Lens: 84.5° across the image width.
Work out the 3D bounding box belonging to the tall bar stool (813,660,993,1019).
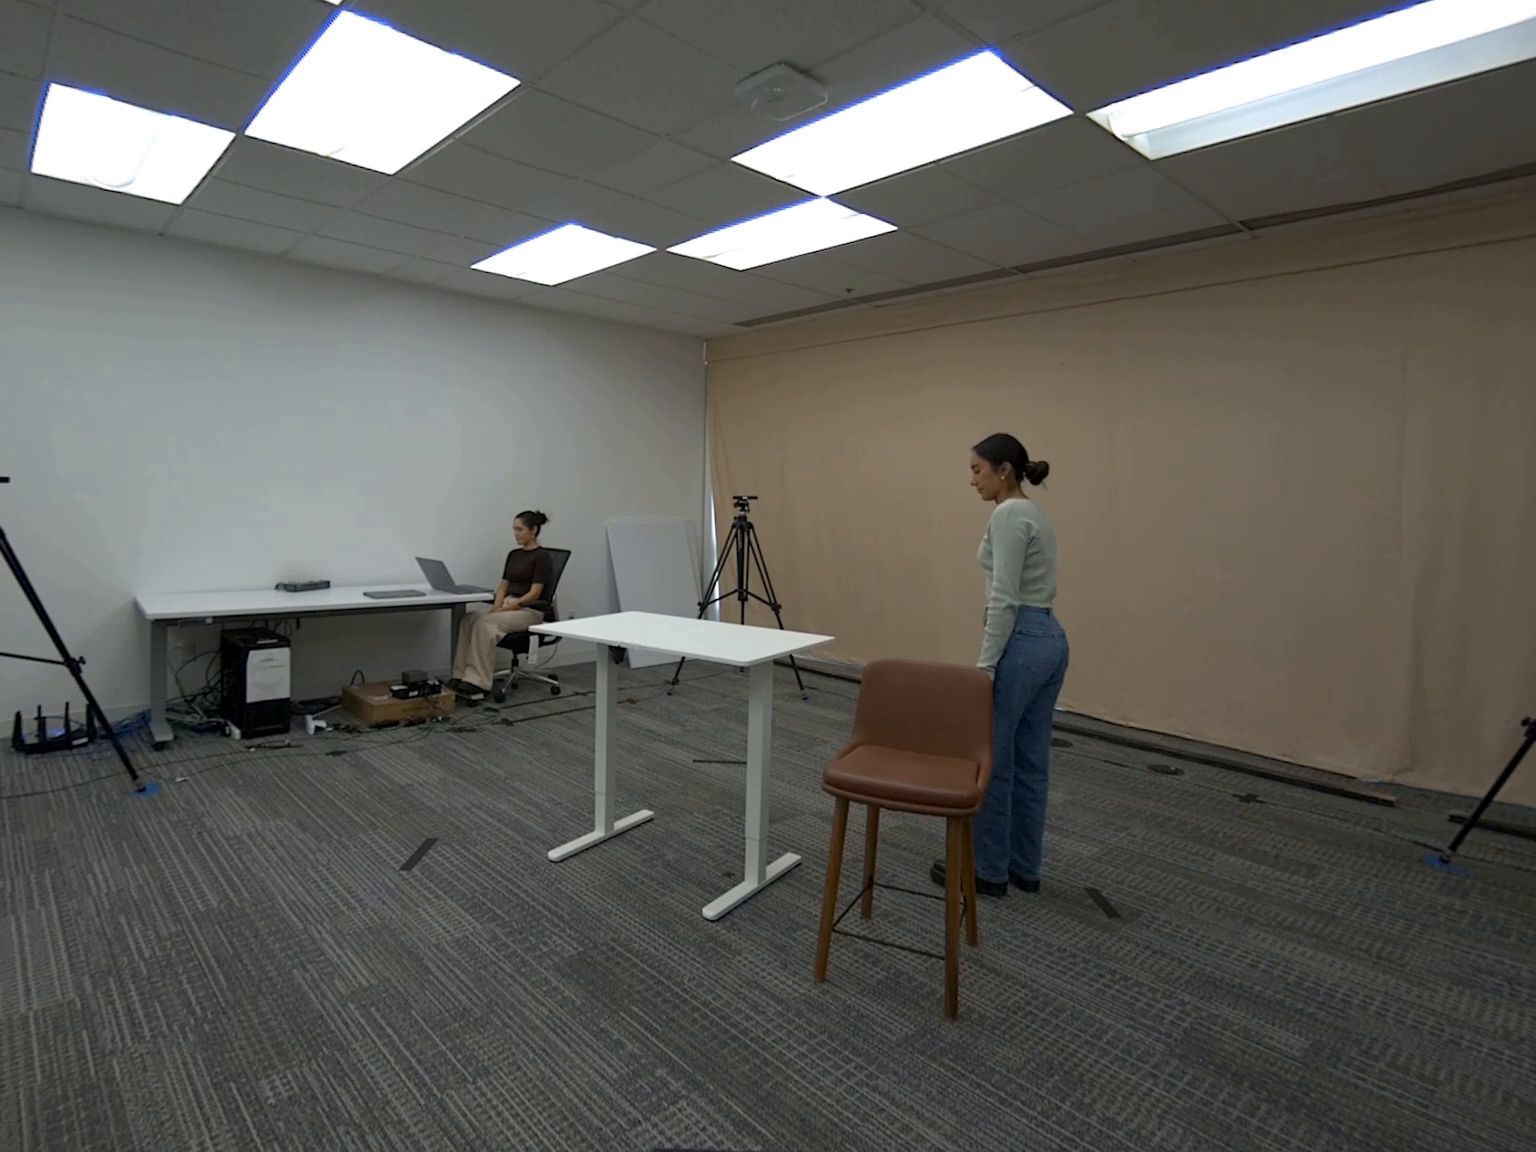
[{"bbox_3d":[0.418,0.735,2.524,0.465,0.888,0.459,3,2,25],"label":"tall bar stool"}]
